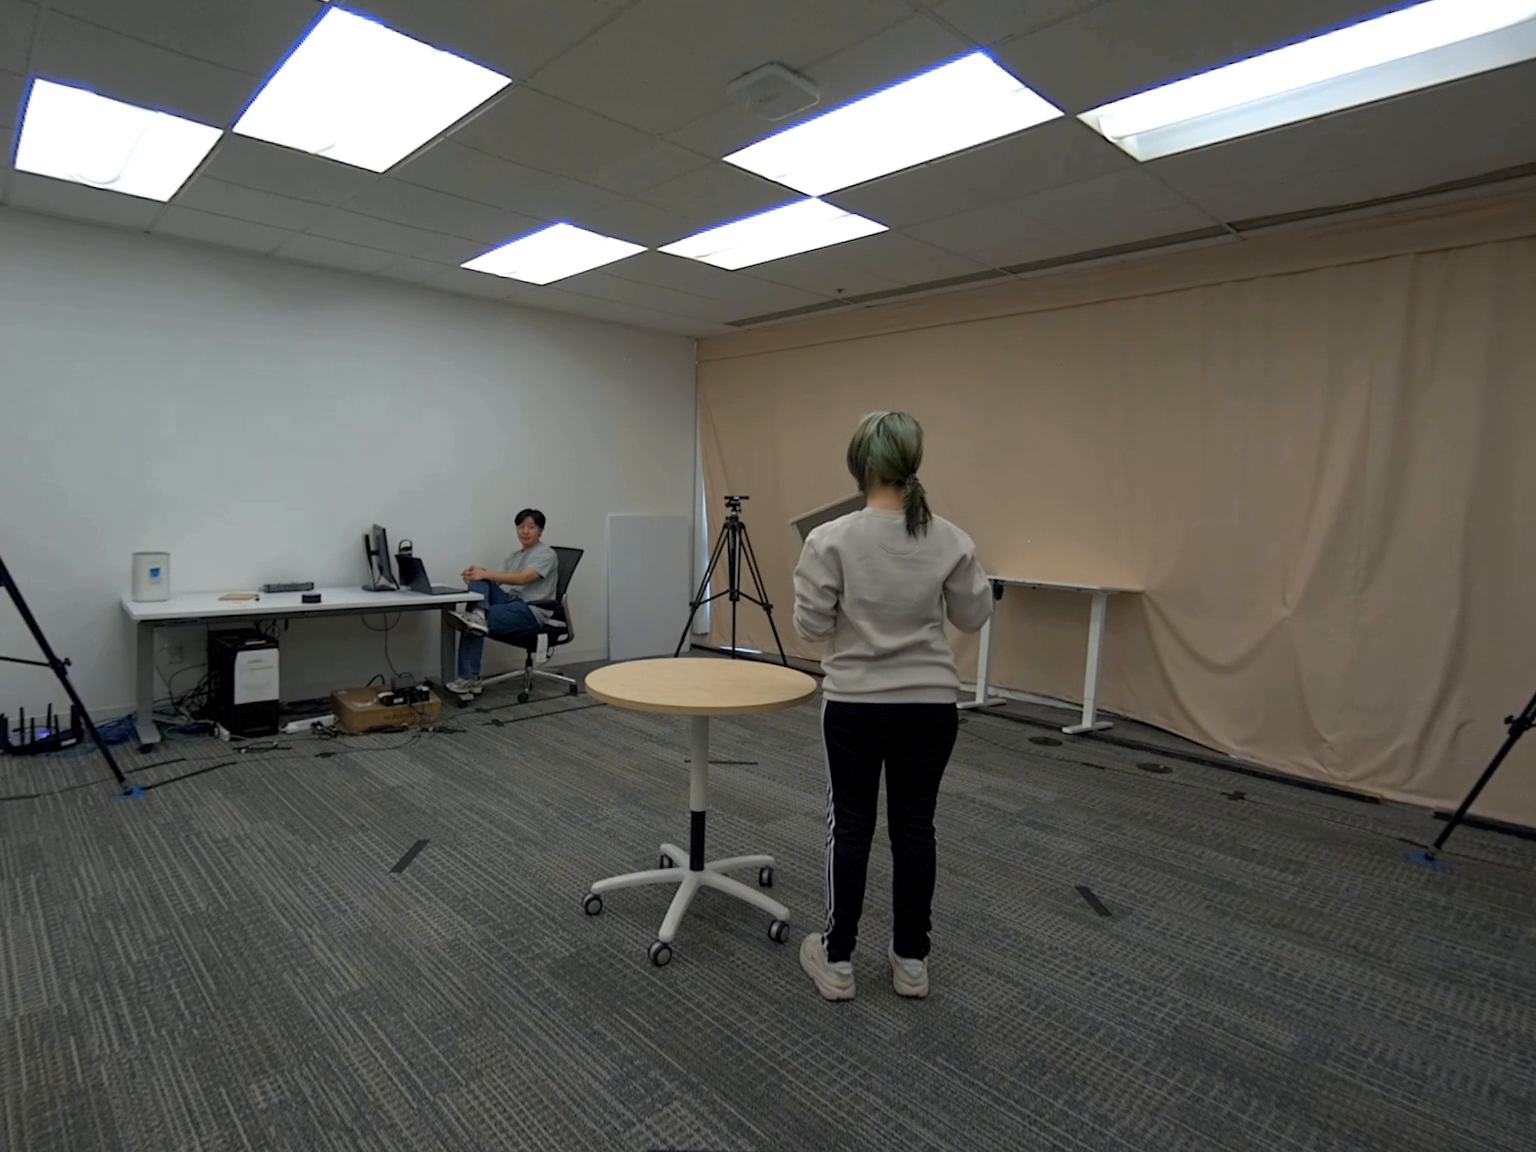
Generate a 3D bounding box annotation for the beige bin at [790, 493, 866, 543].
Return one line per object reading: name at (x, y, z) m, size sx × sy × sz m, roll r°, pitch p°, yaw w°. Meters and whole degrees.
beige bin at (0.325, -0.087, 2.721) m, size 0.423 × 0.376 × 0.189 m, roll -22°, pitch 3°, yaw 3°
